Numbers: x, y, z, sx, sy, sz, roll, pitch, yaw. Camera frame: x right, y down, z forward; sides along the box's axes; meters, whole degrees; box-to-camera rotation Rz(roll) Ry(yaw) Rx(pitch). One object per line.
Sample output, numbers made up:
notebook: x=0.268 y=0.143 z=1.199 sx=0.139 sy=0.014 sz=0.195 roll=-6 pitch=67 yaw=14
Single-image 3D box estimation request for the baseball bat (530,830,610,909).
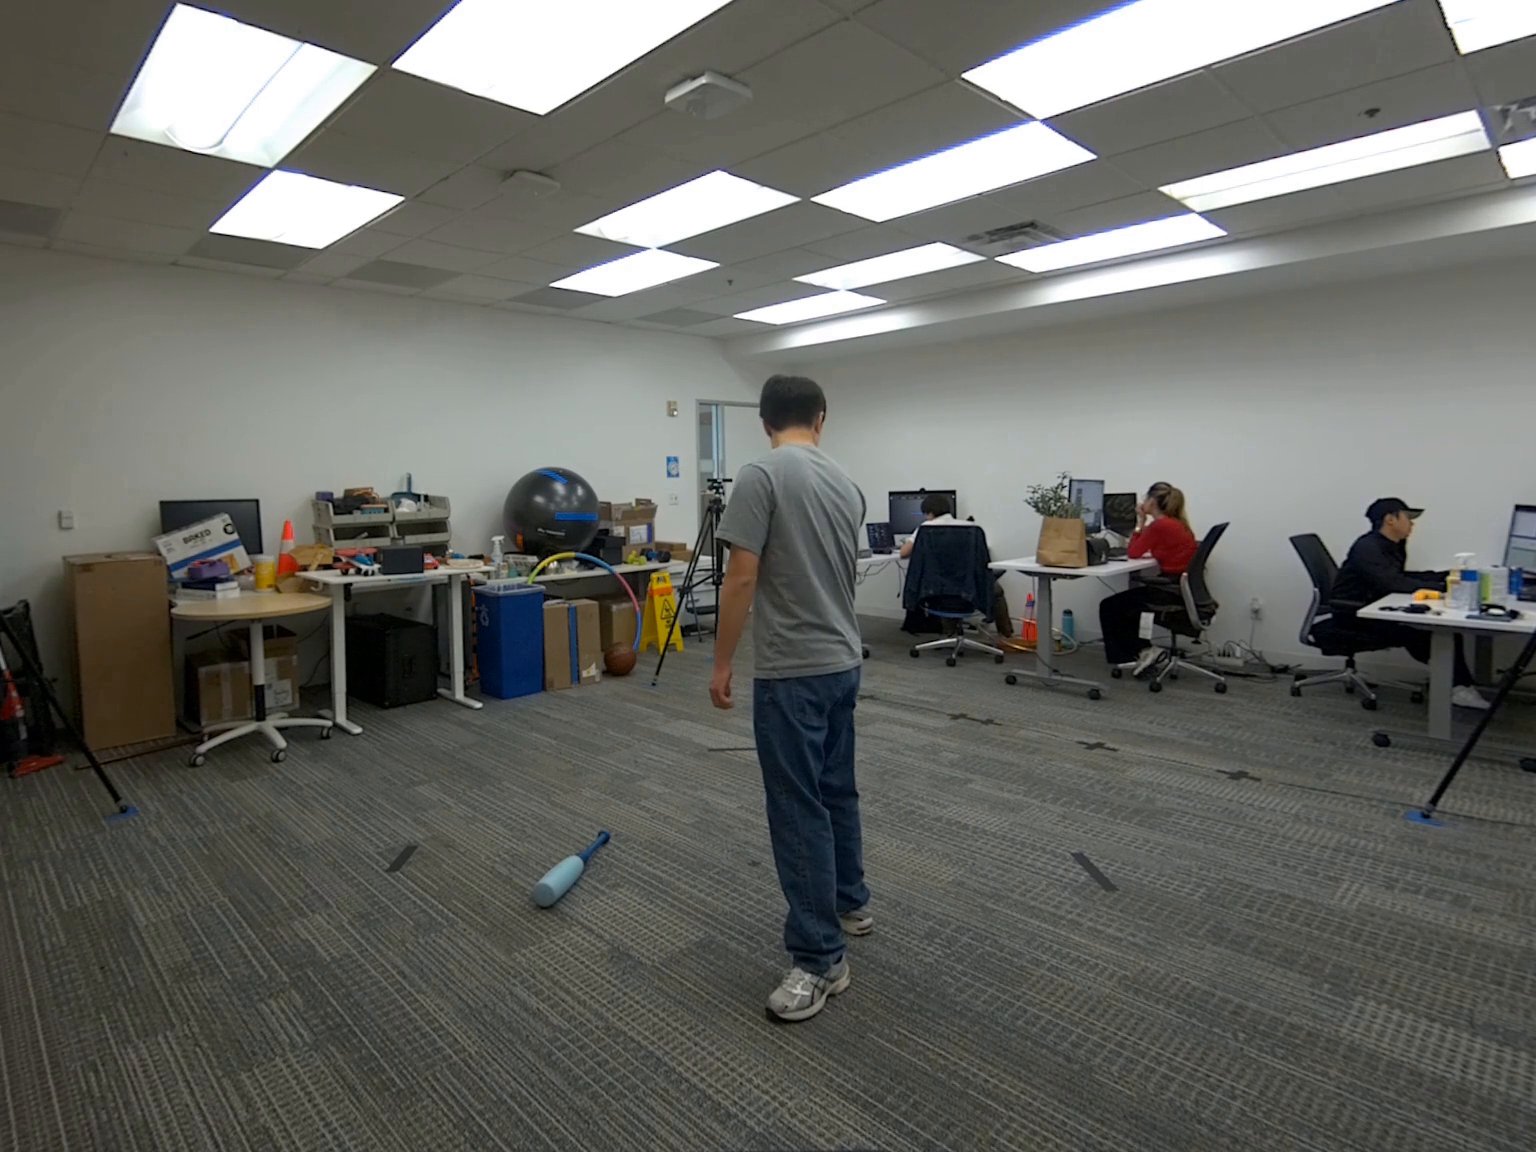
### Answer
baseball bat: x=-0.679 y=1.026 z=3.050 sx=0.090 sy=0.089 sz=0.538 roll=0 pitch=4 yaw=11
